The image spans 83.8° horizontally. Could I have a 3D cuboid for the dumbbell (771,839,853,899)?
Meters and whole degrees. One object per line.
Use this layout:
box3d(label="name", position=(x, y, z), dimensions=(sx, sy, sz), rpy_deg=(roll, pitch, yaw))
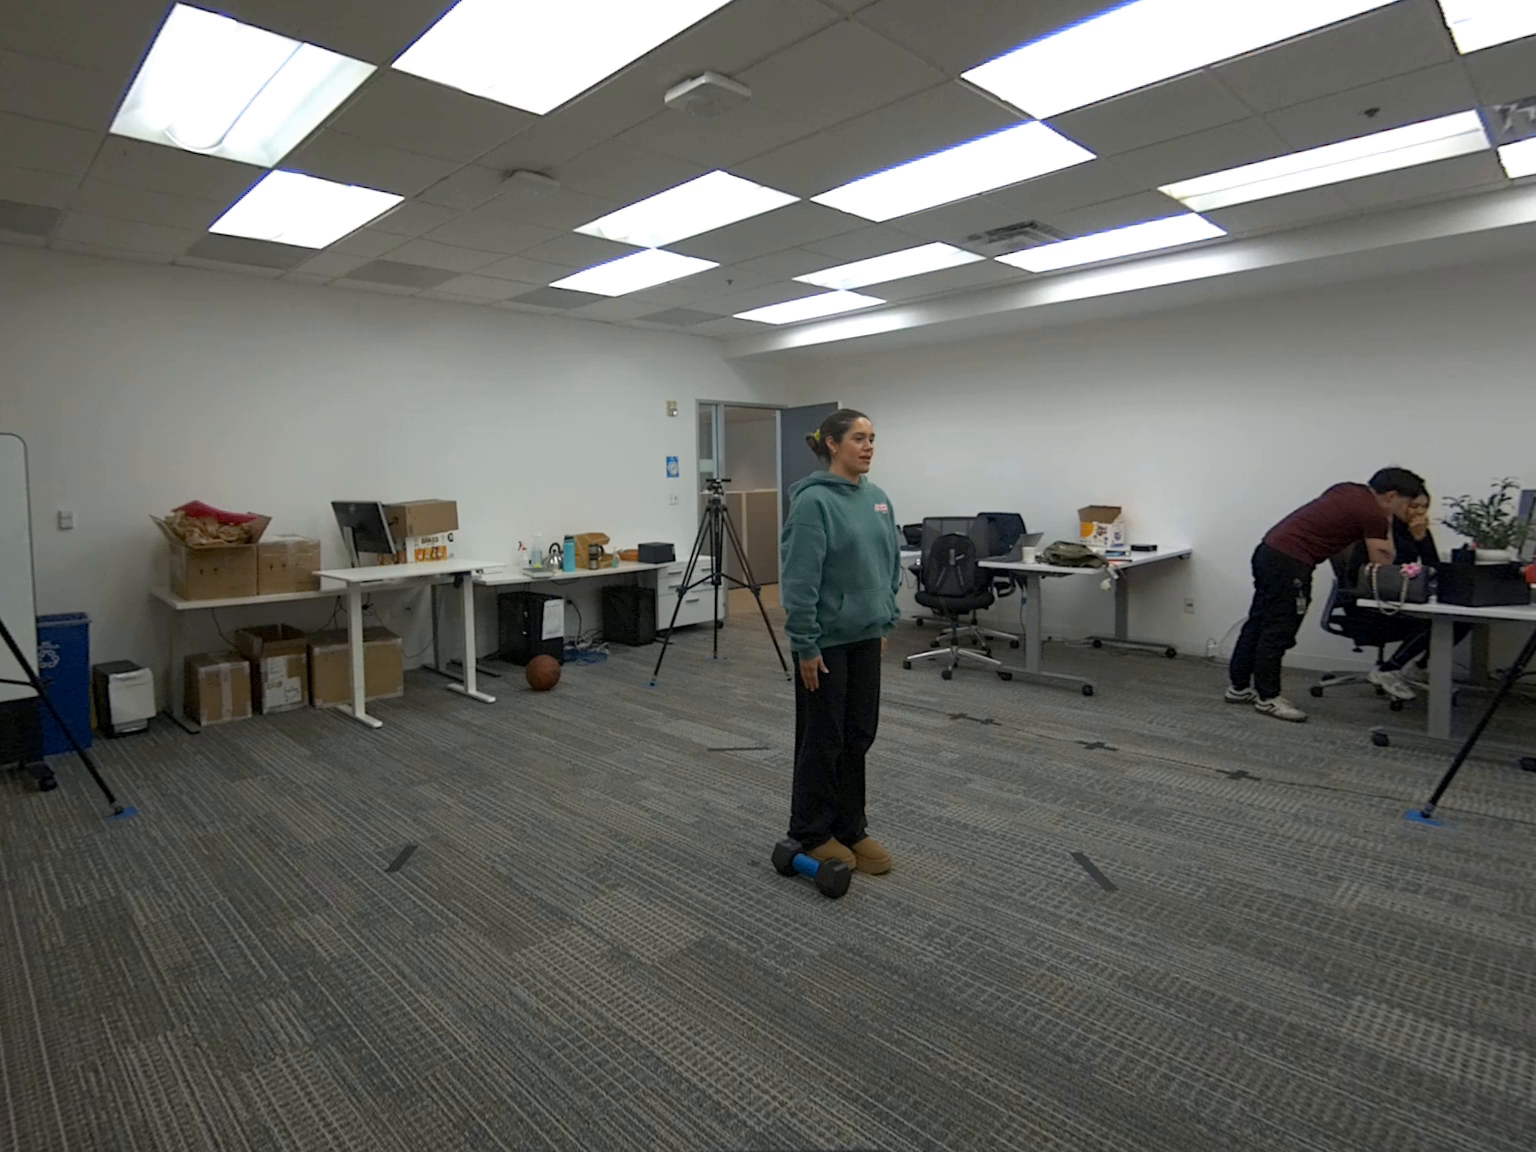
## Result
box3d(label="dumbbell", position=(0.148, 1.003, 2.944), dimensions=(0.302, 0.120, 0.108), rpy_deg=(4, 39, 50))
